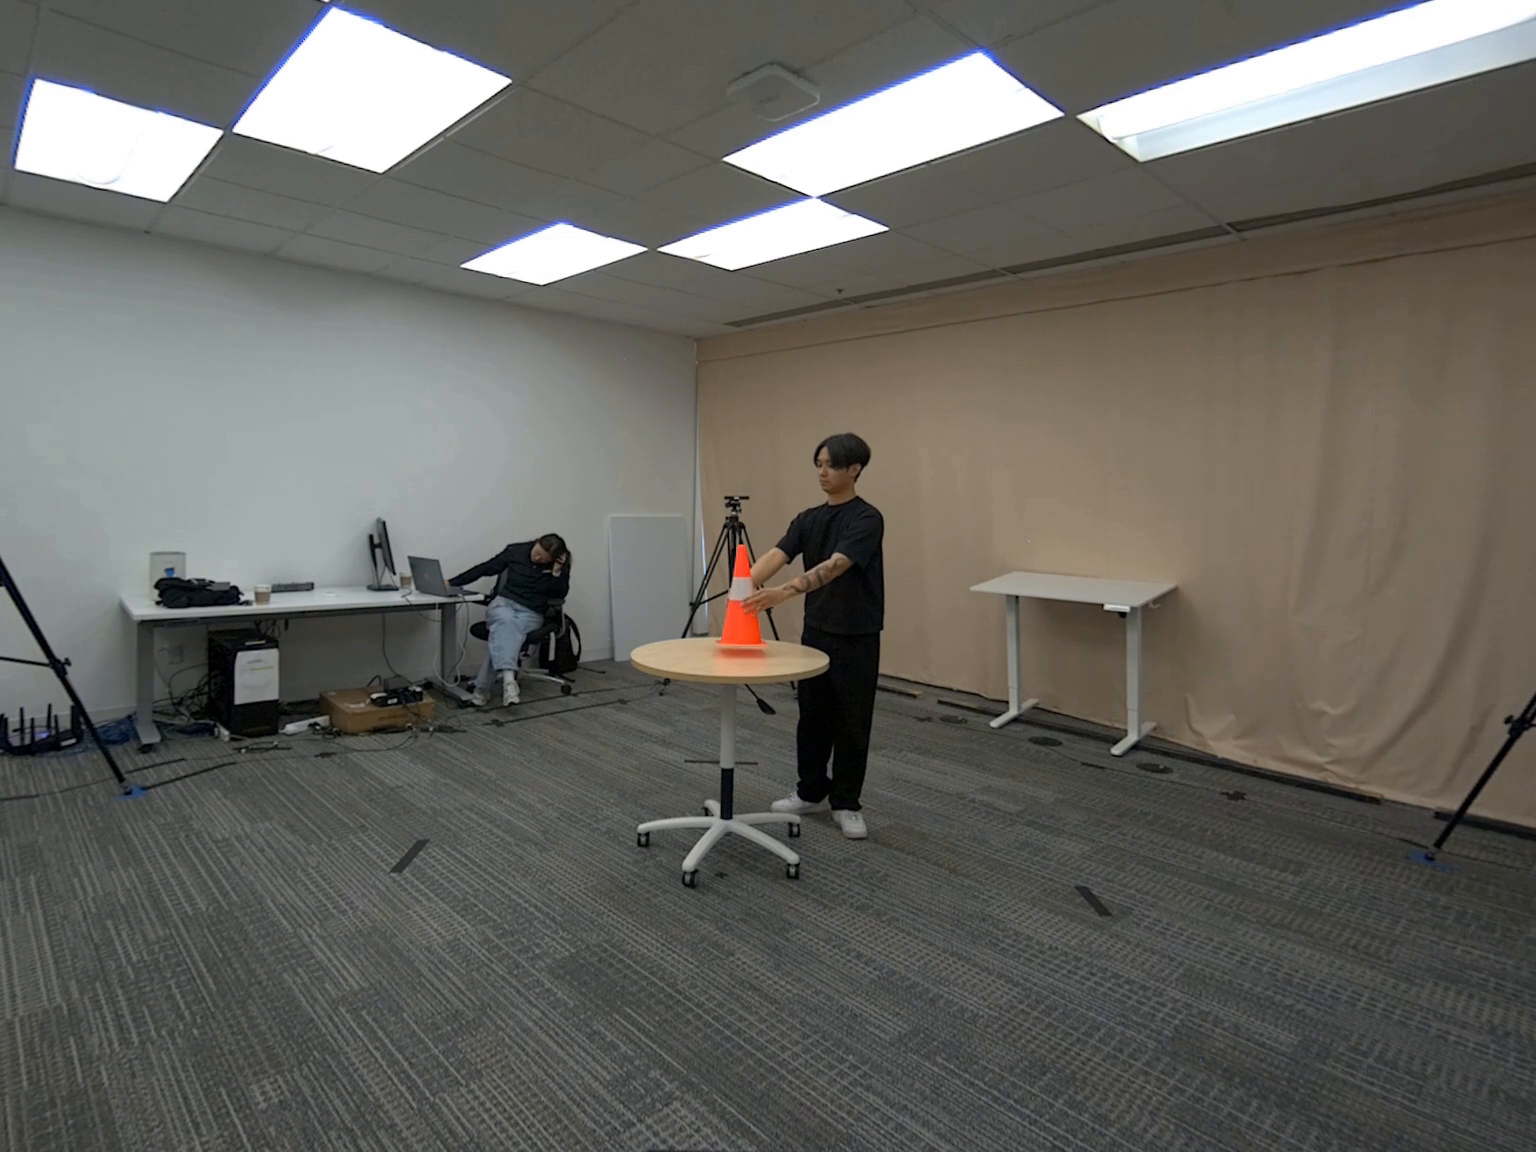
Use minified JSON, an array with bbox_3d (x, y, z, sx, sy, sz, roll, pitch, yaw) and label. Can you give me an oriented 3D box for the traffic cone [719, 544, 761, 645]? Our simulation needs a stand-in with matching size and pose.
[{"bbox_3d":[-0.109,0.067,3.276,0.203,0.383,0.205,1,4,1],"label":"traffic cone"}]
